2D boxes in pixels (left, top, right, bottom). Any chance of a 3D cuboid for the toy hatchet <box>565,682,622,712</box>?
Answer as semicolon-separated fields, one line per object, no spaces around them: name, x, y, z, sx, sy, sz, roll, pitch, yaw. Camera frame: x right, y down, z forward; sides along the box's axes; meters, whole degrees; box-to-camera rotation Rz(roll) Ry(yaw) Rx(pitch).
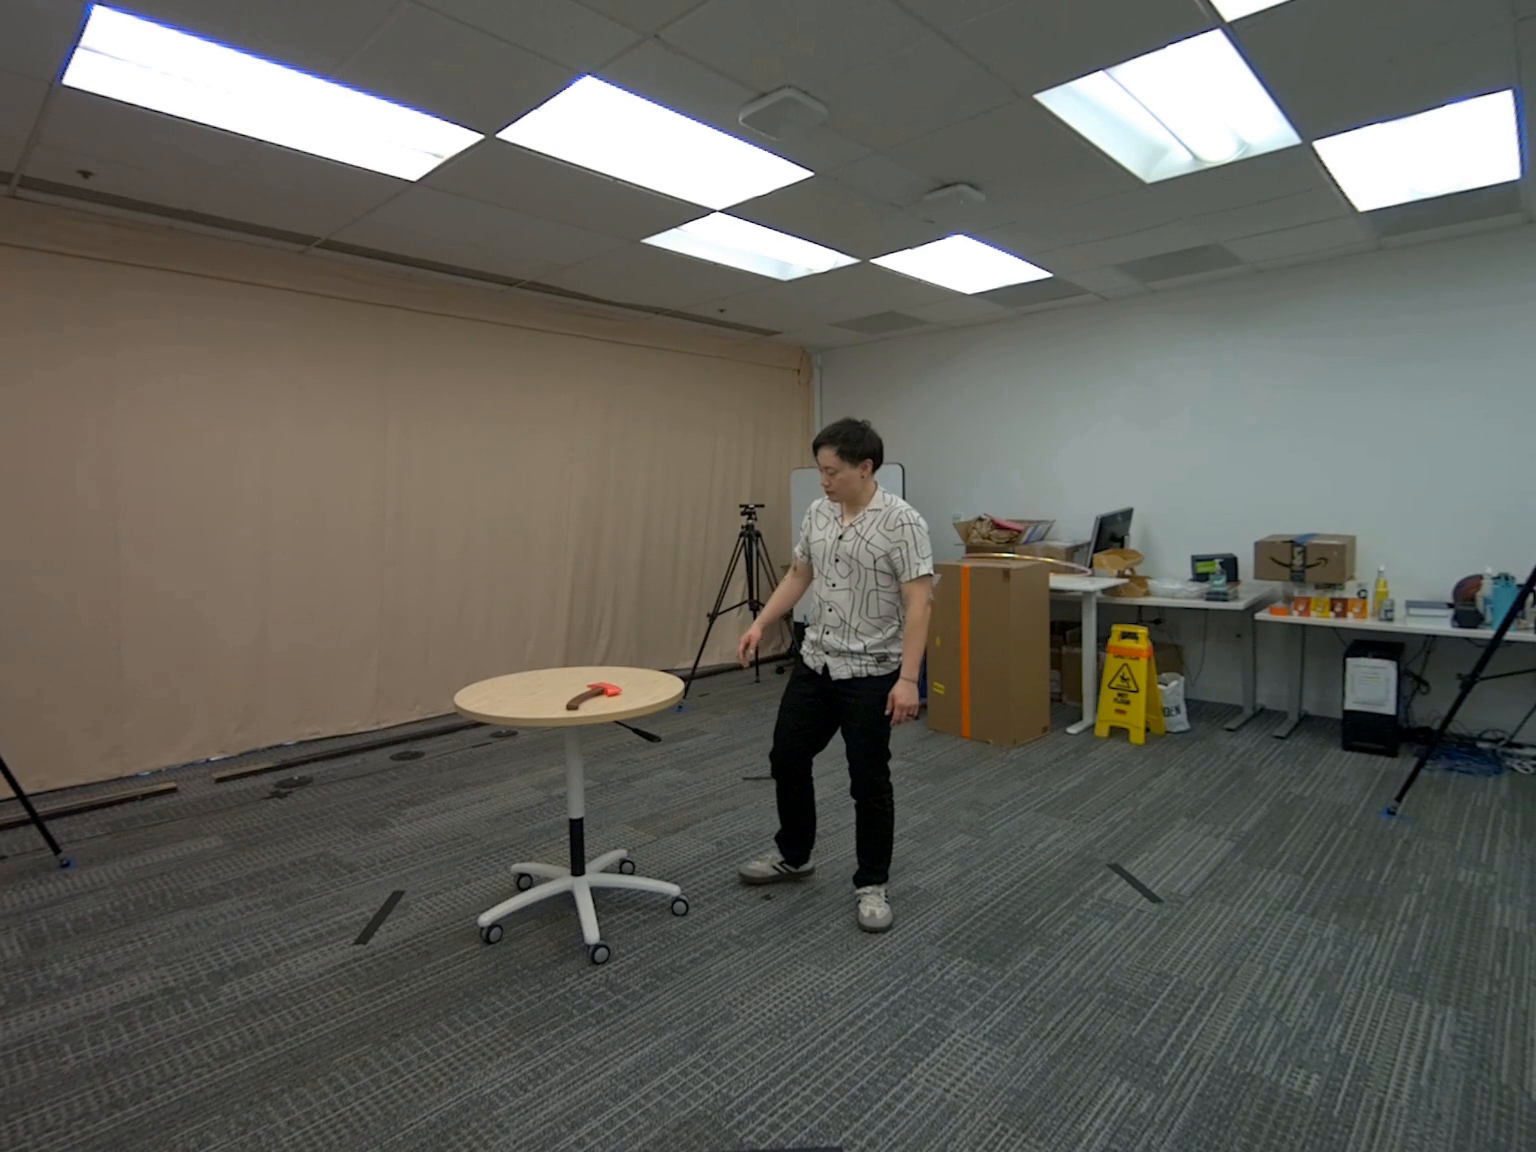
toy hatchet;-0.546;0.391;2.671;0.131;0.029;0.270;2;7;2
